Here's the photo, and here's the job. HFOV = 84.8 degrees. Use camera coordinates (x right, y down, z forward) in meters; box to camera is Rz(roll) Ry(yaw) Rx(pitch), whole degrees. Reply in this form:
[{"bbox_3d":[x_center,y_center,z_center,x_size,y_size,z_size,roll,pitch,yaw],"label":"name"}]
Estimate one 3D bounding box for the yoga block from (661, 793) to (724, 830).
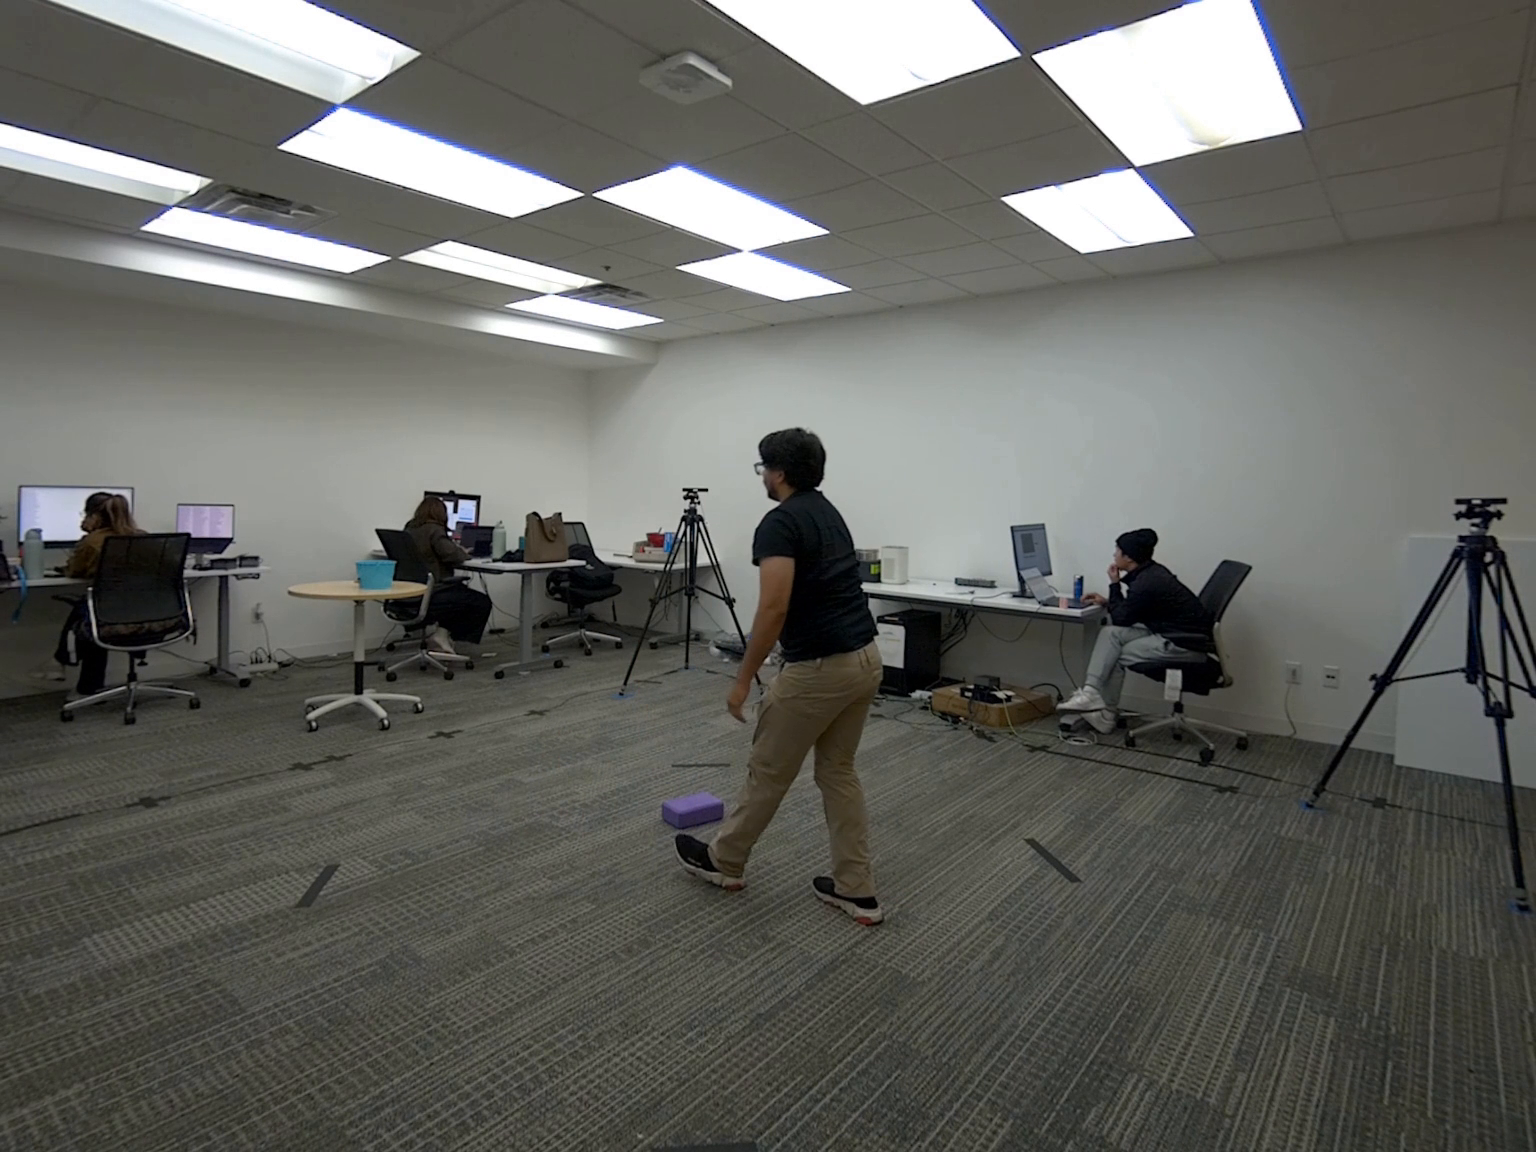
[{"bbox_3d":[-0.328,0.980,3.585,0.223,0.076,0.154,-3,7,-37],"label":"yoga block"}]
